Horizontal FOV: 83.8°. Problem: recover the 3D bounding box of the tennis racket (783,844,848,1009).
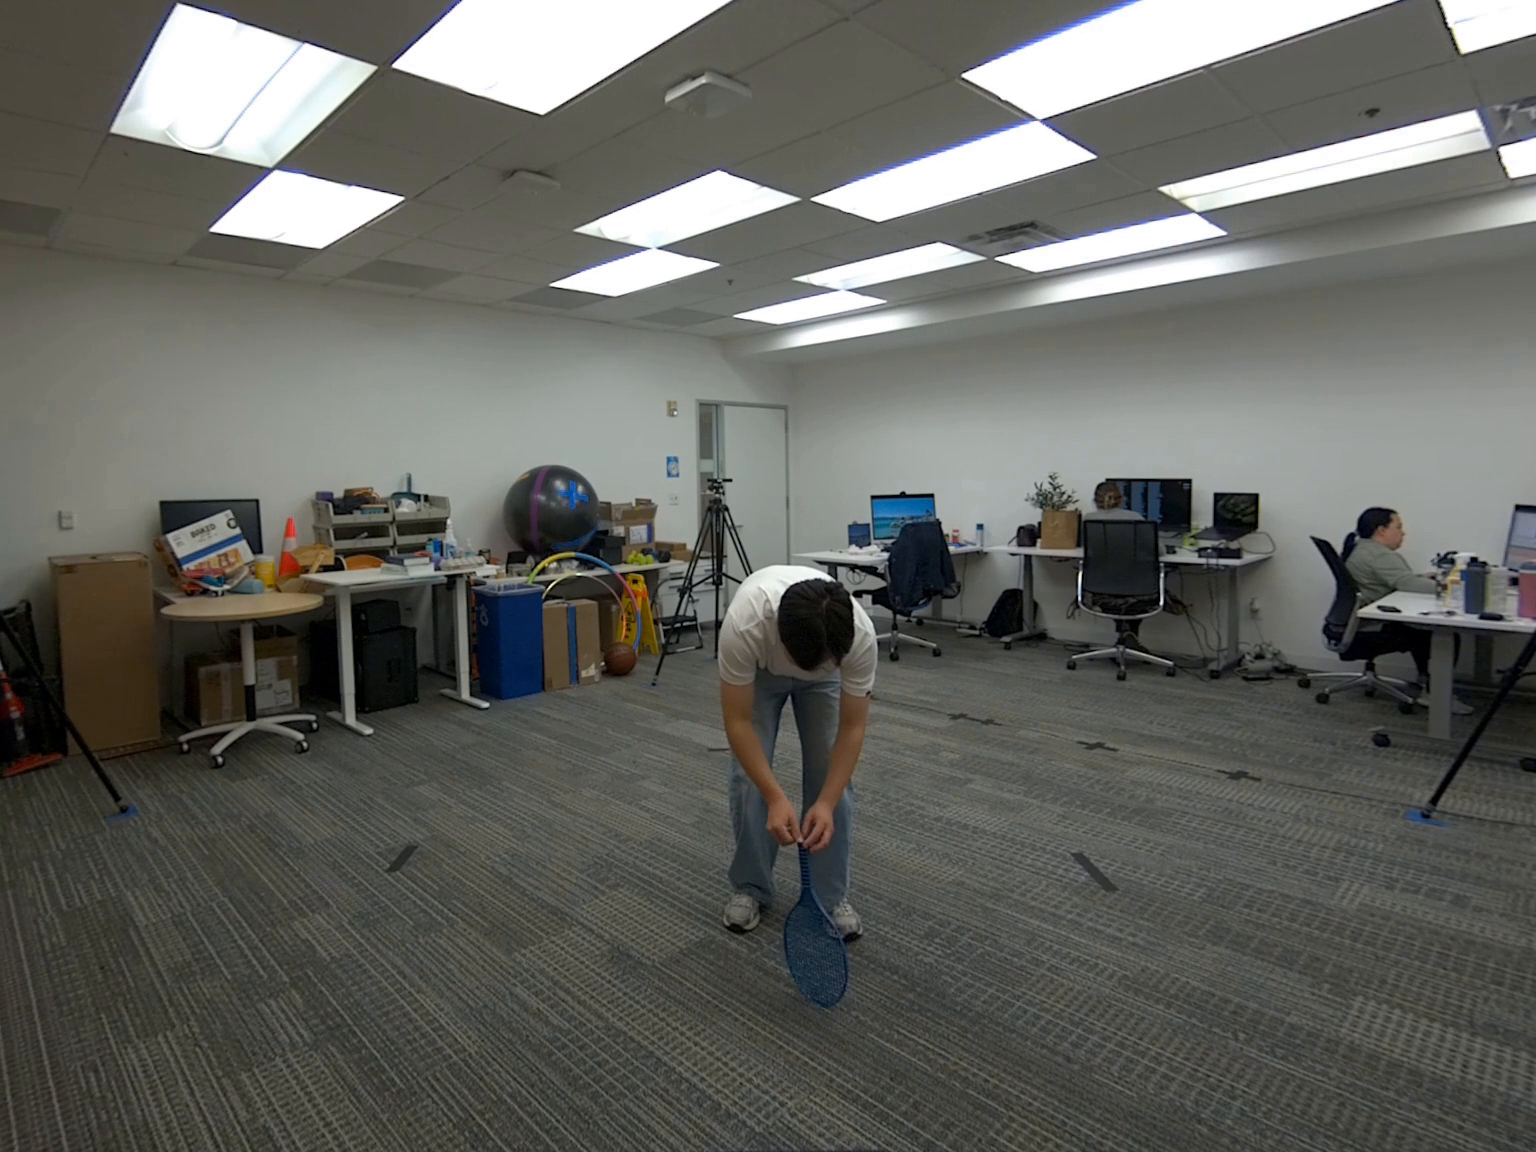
[{"bbox_3d":[0.108,0.931,2.289,0.208,0.430,0.033,-2,7,-31],"label":"tennis racket"}]
